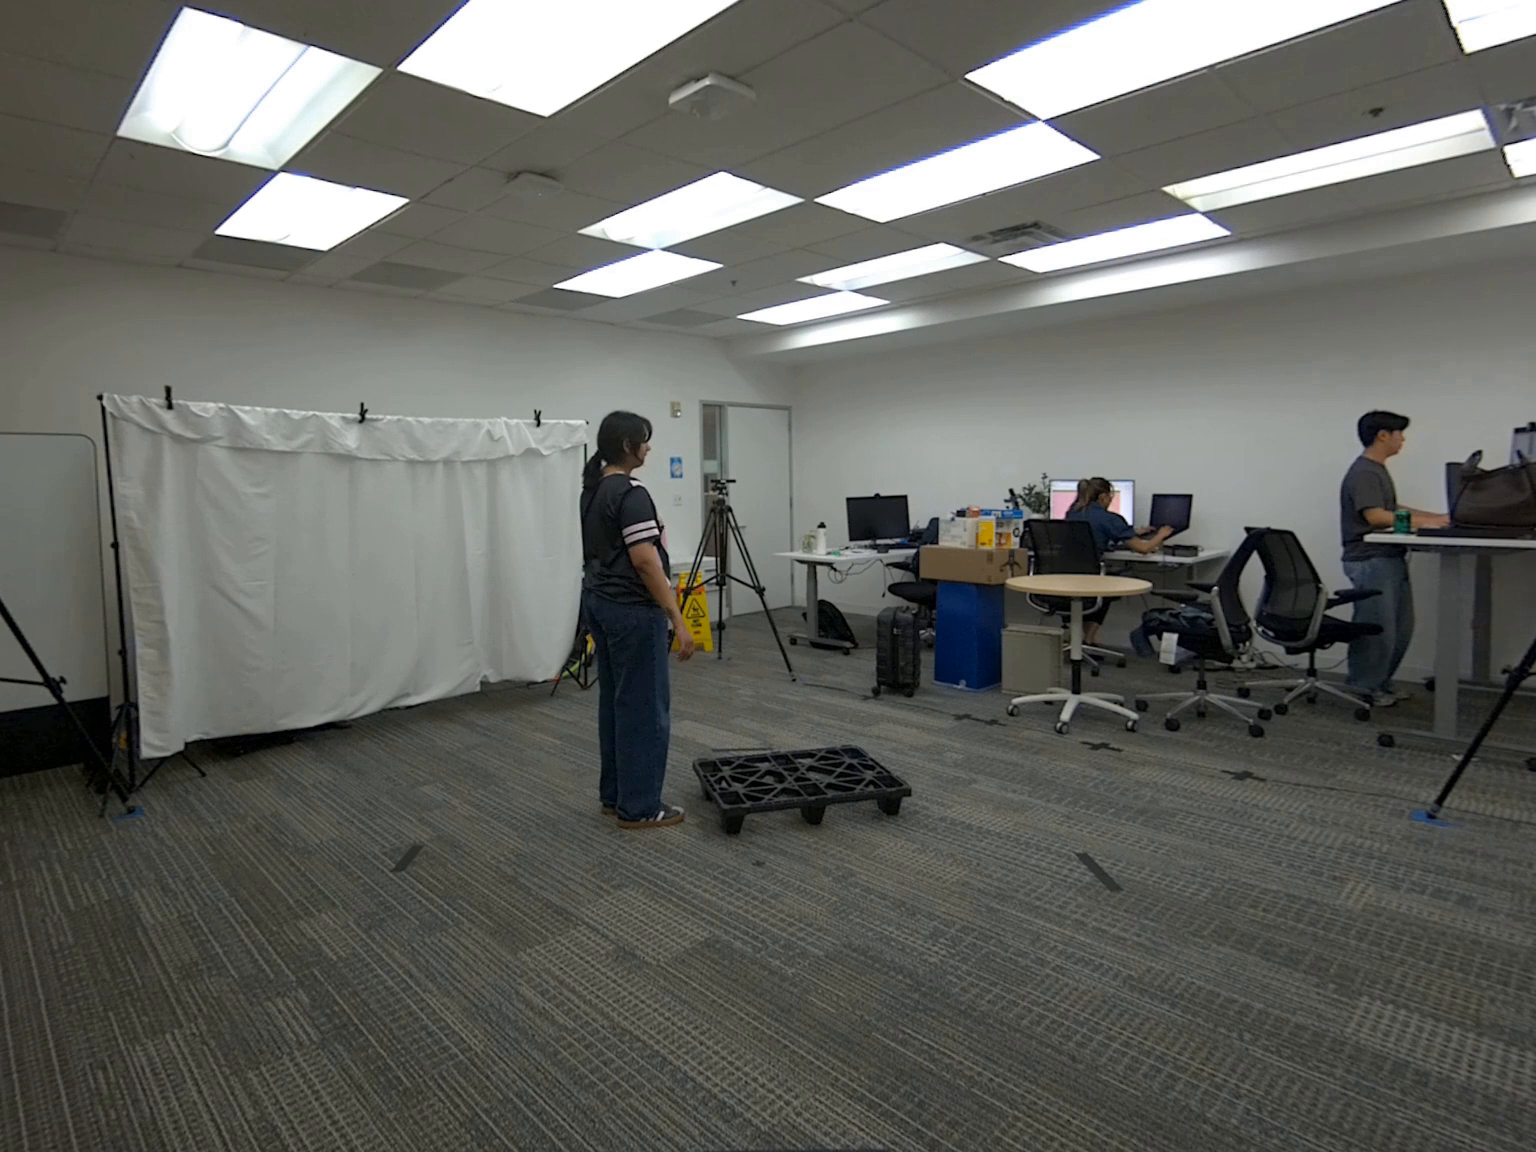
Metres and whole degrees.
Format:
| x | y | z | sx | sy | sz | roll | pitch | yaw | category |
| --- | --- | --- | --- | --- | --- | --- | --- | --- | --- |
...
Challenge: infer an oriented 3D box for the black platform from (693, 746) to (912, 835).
| x | y | z | sx | sy | sz | roll | pitch | yaw | category |
| --- | --- | --- | --- | --- | --- | --- | --- | --- | --- |
| 0.118 | 0.910 | 3.675 | 0.795 | 0.143 | 0.615 | -2 | 6 | -14 | black platform |
